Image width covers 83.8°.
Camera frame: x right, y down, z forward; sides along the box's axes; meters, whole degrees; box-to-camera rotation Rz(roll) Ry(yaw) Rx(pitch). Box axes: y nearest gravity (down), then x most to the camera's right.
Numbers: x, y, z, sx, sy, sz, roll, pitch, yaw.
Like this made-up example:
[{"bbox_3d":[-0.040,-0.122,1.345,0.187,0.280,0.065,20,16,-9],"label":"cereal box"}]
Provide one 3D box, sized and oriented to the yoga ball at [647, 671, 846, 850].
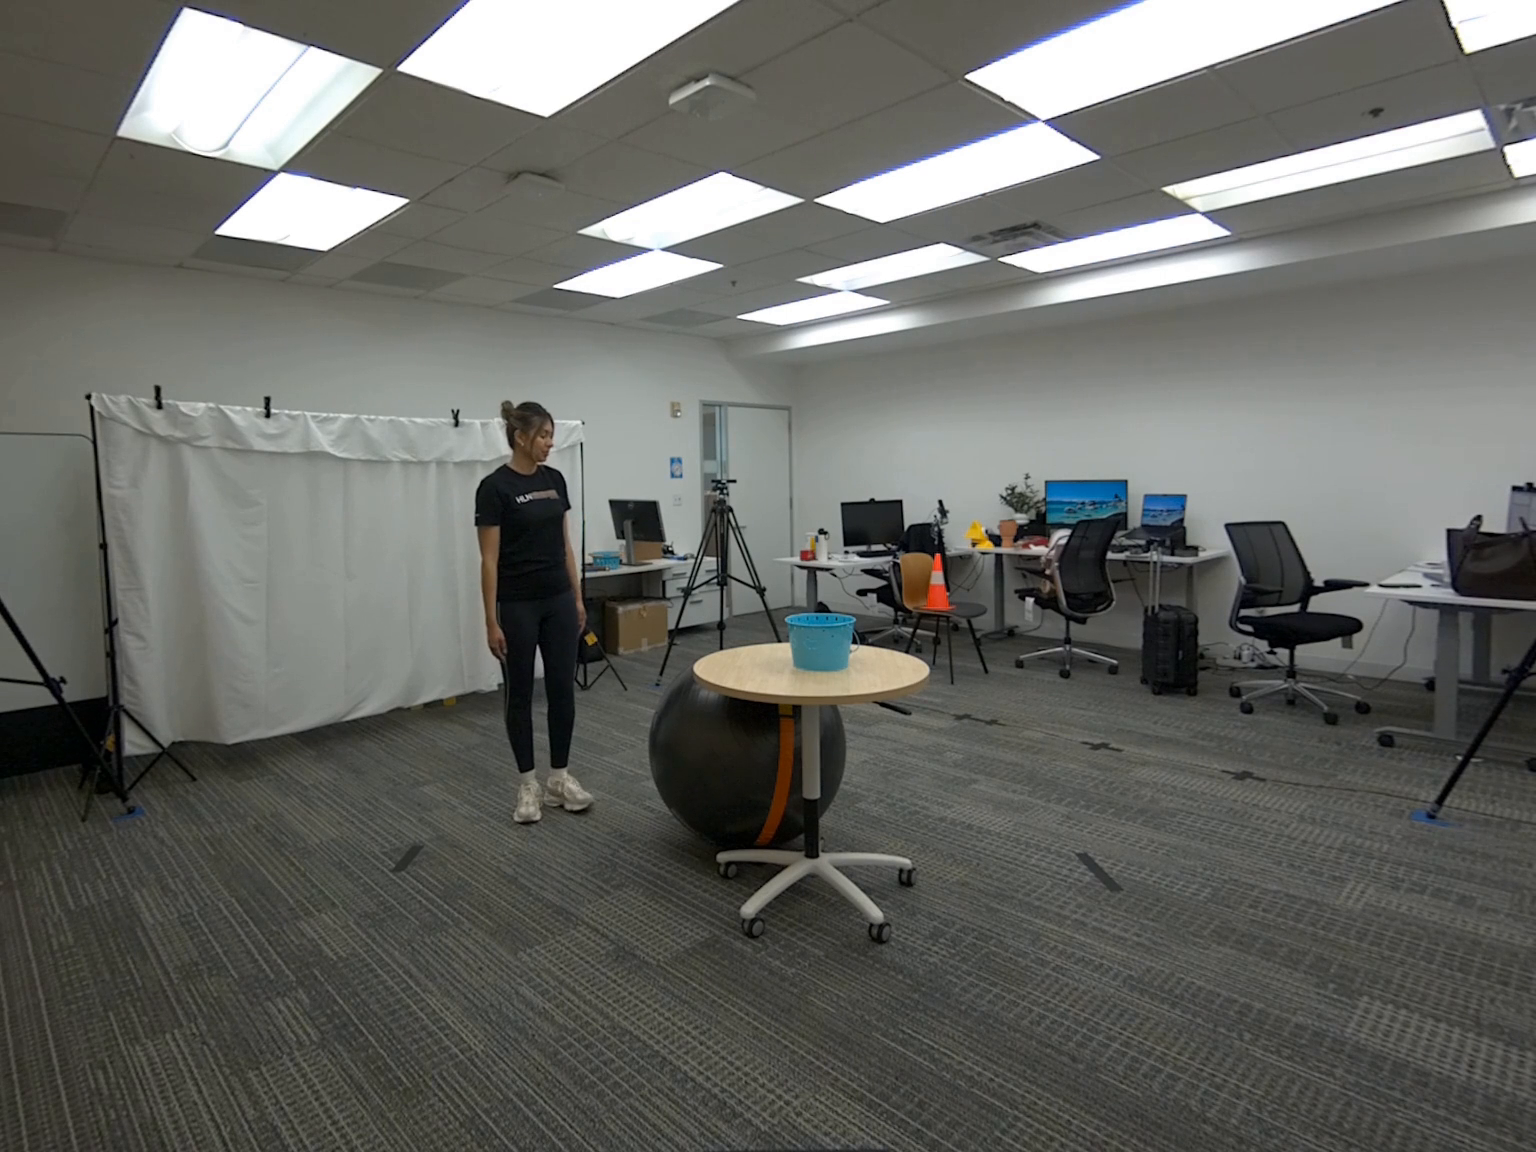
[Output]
[{"bbox_3d":[-0.078,0.658,3.288,0.757,0.755,0.762,-1,5,-2],"label":"yoga ball"}]
